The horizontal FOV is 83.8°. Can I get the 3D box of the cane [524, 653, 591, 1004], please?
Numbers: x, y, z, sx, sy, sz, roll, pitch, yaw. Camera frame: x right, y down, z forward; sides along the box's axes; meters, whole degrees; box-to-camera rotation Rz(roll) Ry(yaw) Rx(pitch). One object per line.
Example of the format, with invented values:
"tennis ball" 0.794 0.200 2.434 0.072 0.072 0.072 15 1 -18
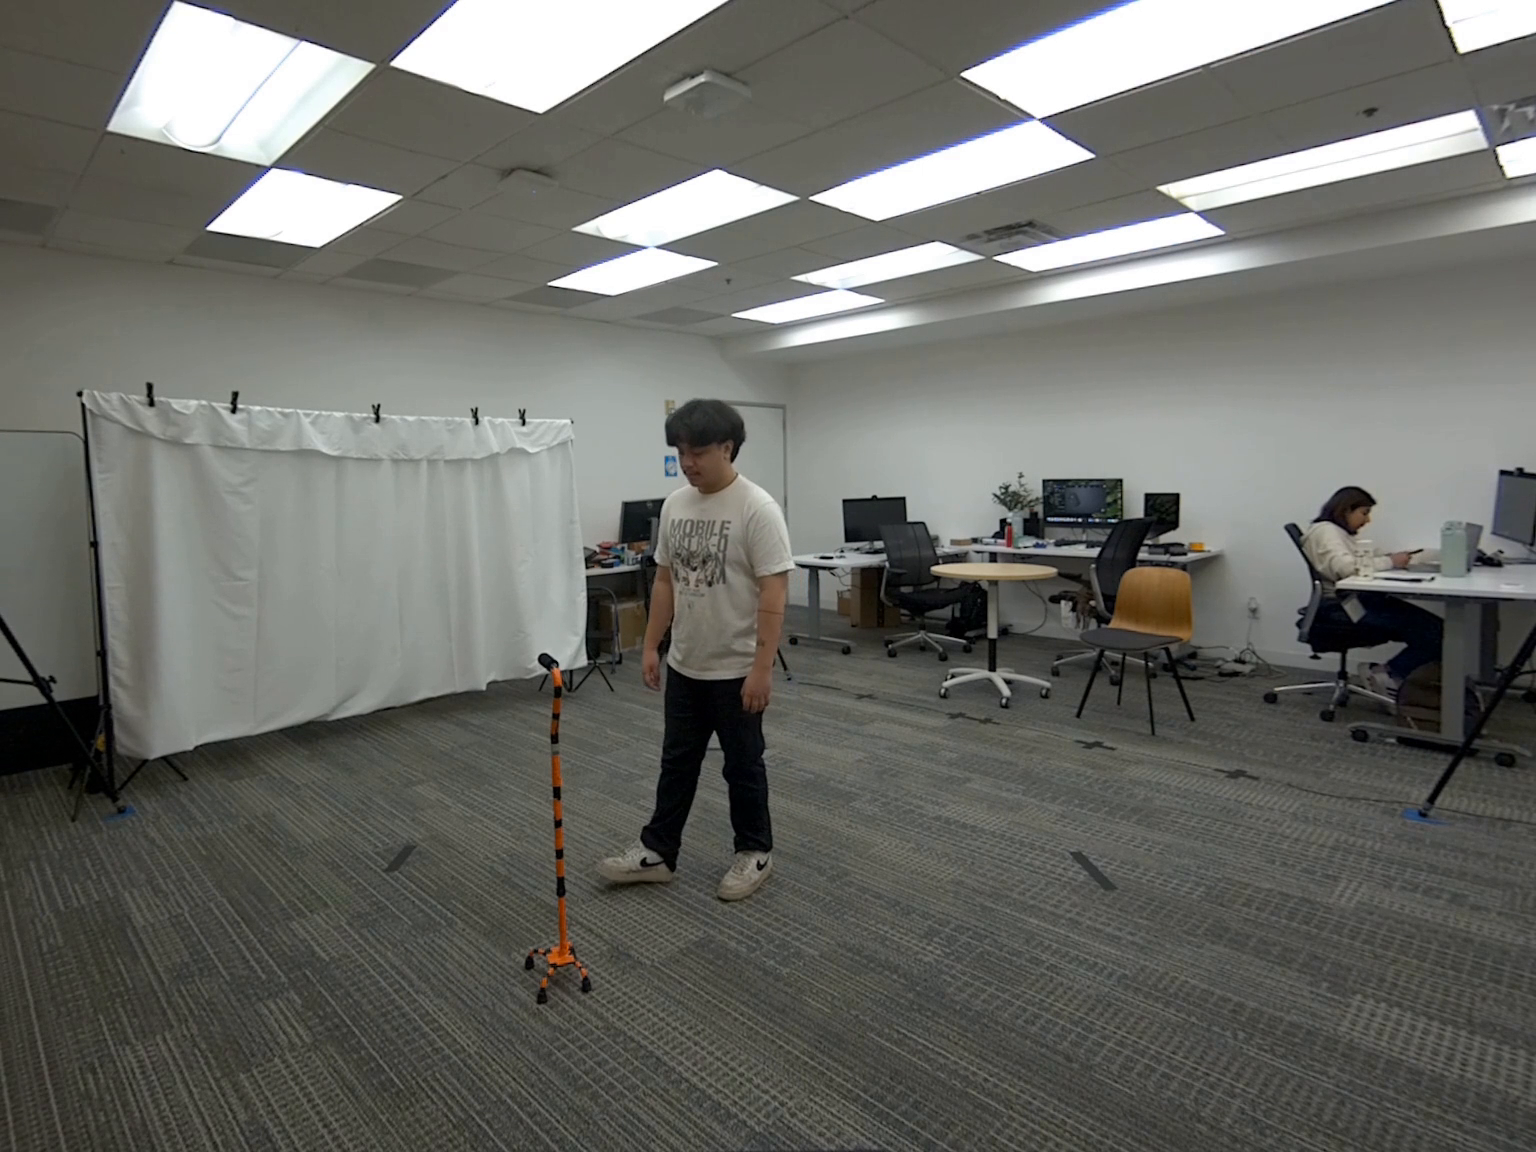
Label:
"cane" -0.599 0.690 2.382 0.148 0.904 0.211 -3 5 -25
